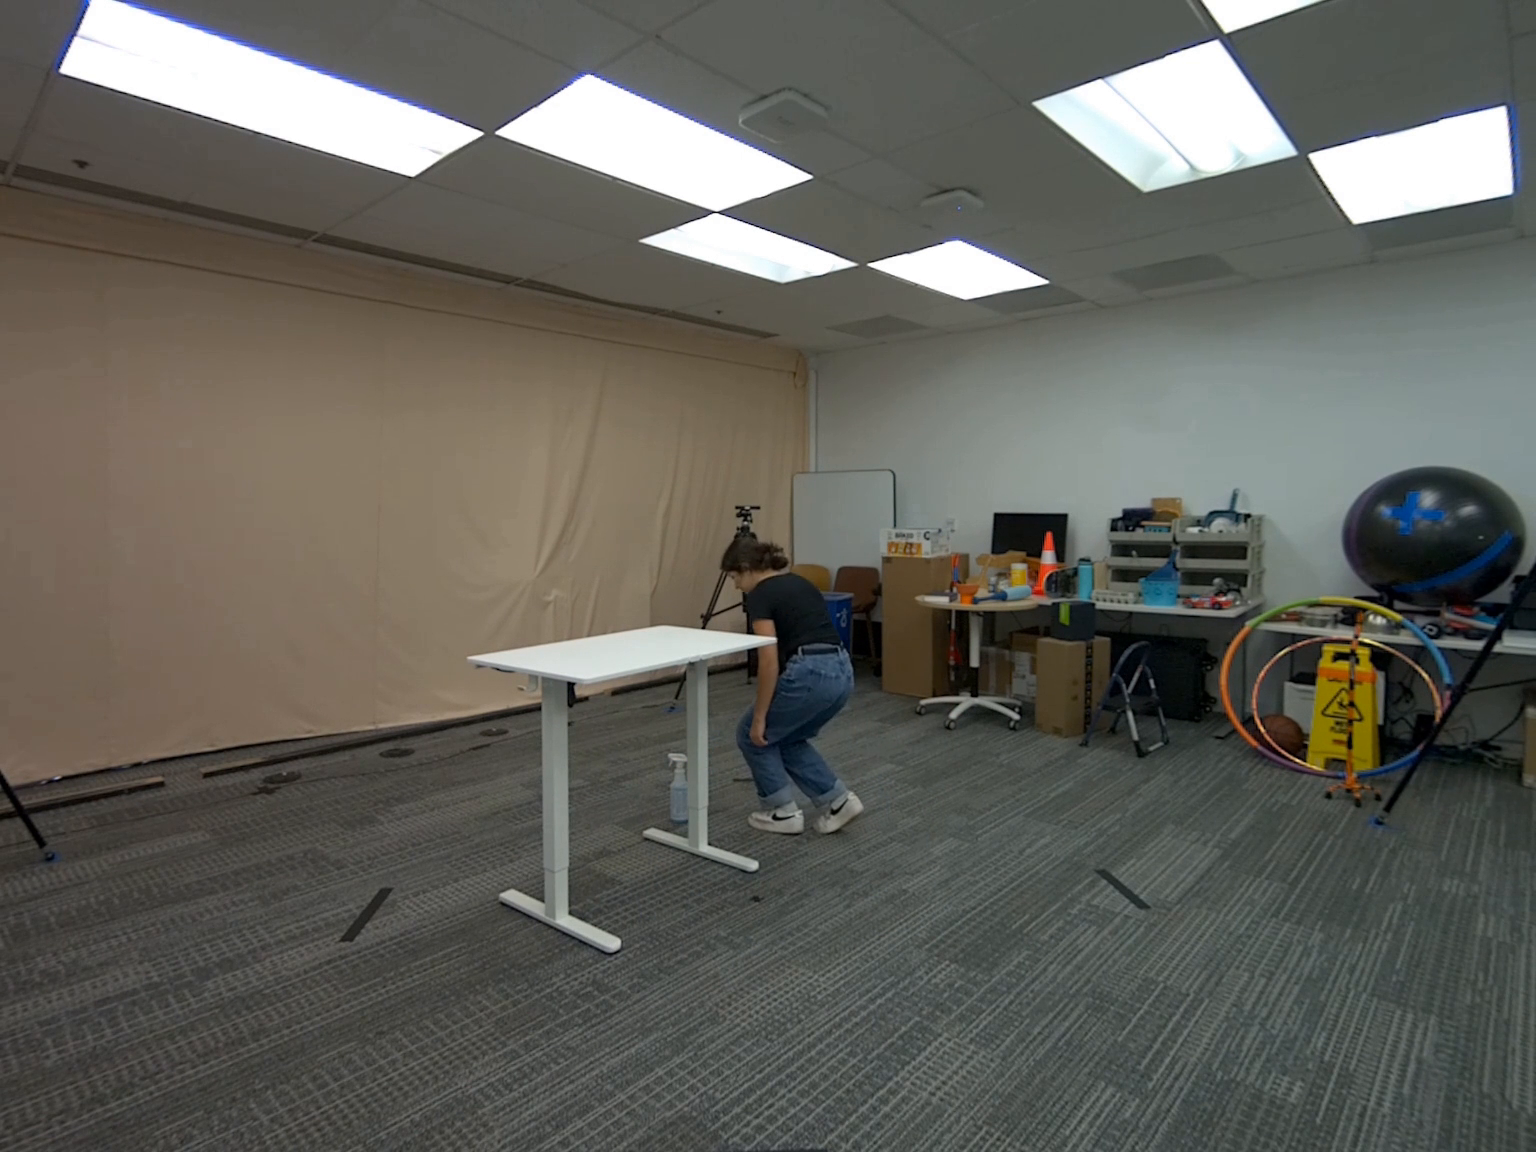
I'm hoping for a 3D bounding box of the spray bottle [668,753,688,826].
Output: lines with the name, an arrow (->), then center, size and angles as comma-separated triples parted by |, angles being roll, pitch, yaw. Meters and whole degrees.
spray bottle -> -0.392, 0.942, 3.743 | 0.092, 0.296, 0.085 | 1, 6, 22
